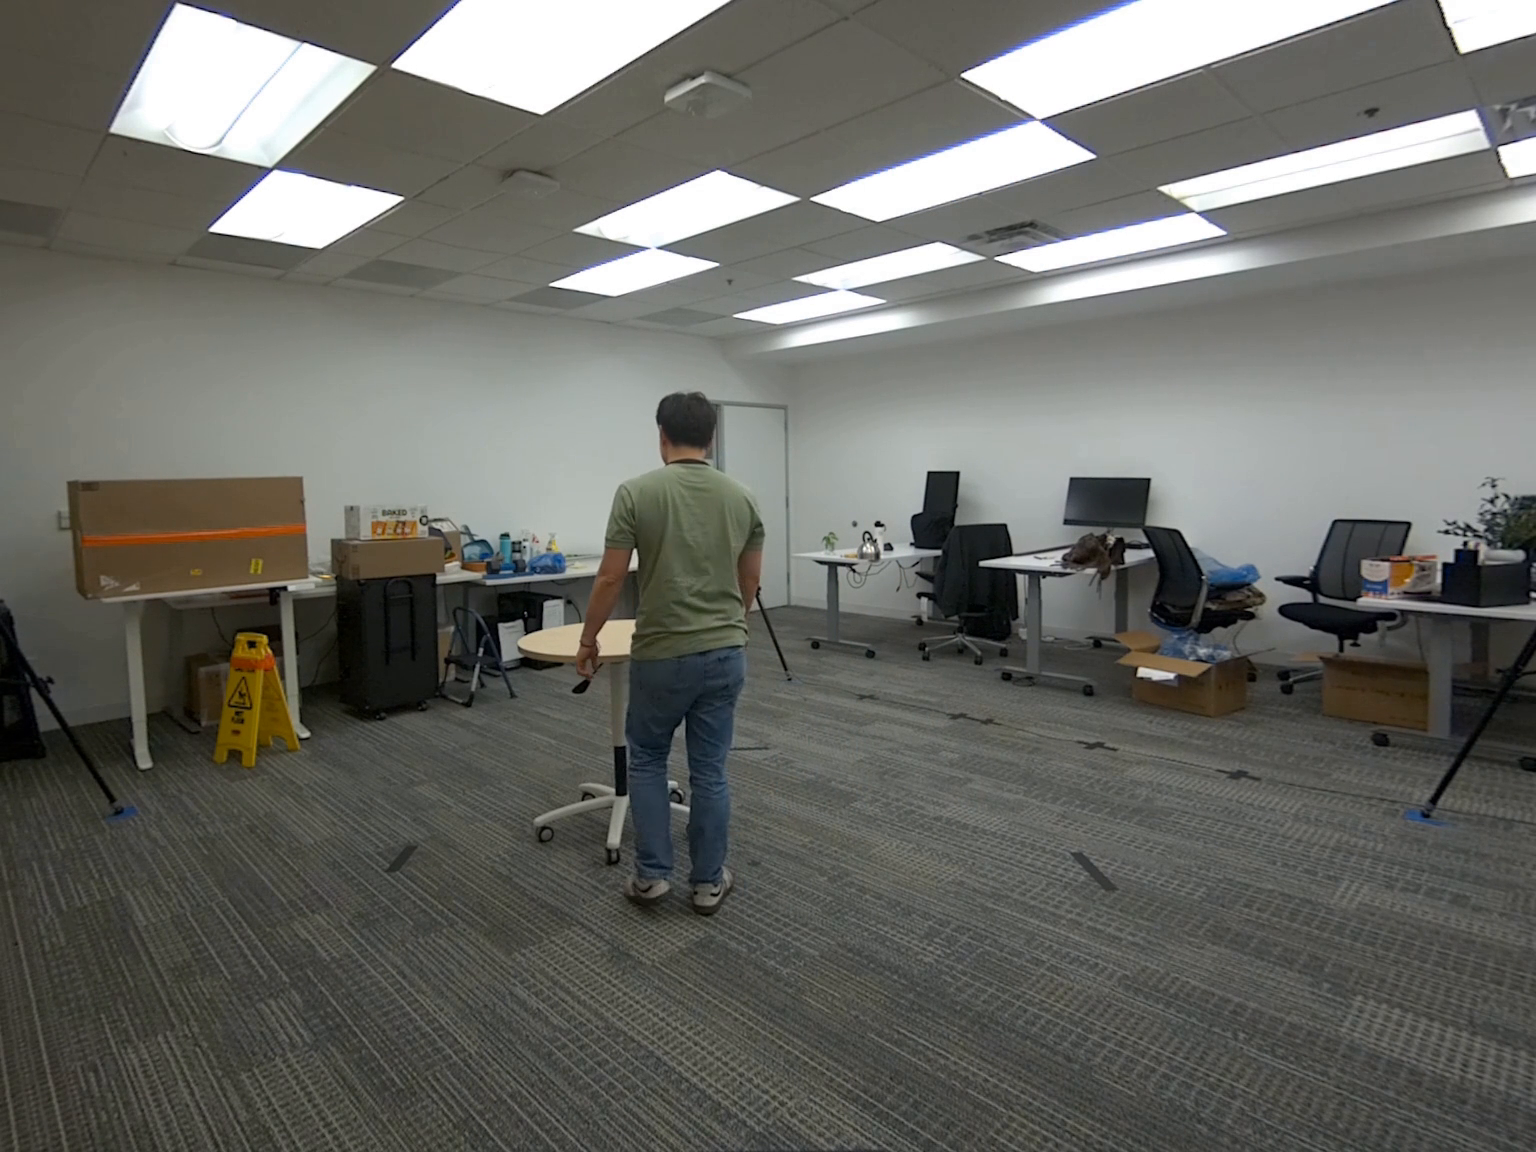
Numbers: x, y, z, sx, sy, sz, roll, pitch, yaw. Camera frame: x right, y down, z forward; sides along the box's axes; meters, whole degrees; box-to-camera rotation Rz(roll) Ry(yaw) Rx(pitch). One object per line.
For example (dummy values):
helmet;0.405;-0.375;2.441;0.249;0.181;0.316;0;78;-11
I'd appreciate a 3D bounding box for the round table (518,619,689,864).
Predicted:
round table;-0.590;0.628;3.411;0.763;0.791;0.768;-2;4;-2
